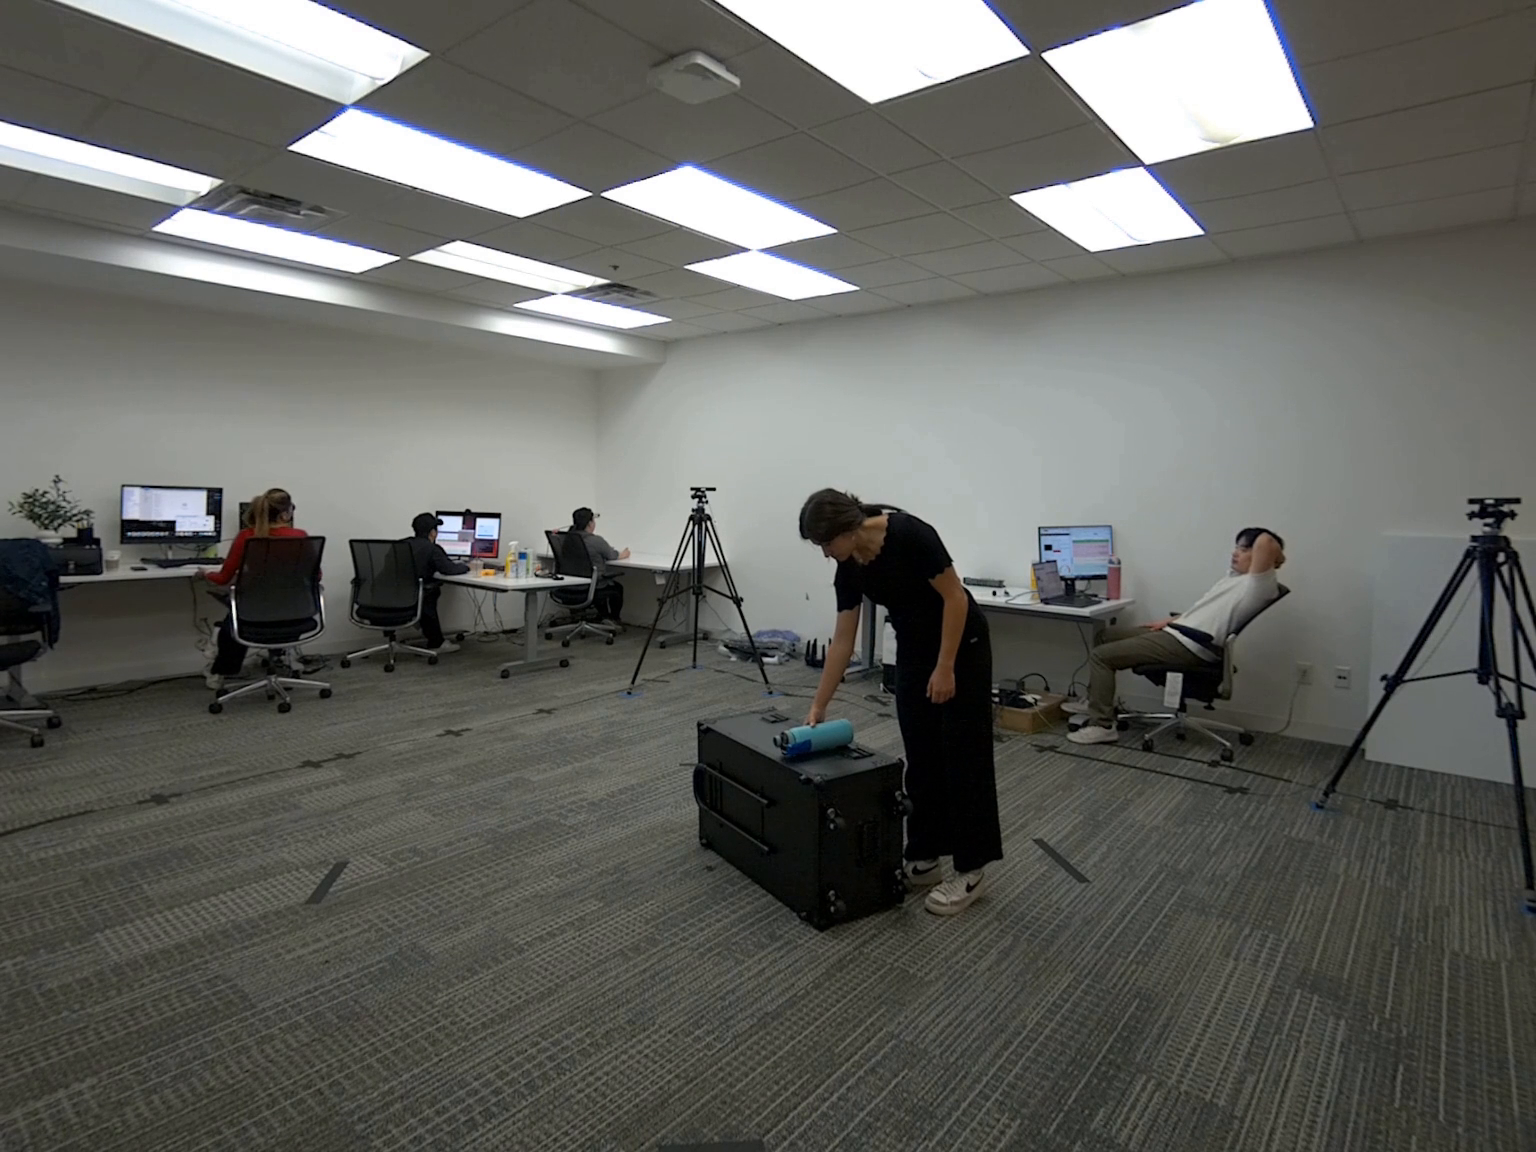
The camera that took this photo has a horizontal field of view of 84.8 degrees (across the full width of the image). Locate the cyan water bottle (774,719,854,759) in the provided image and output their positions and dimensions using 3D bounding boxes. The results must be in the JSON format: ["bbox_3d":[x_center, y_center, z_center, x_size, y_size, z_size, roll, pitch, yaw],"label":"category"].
[{"bbox_3d":[0.153,0.556,2.942,0.277,0.092,0.095,-6,7,-26],"label":"cyan water bottle"}]
